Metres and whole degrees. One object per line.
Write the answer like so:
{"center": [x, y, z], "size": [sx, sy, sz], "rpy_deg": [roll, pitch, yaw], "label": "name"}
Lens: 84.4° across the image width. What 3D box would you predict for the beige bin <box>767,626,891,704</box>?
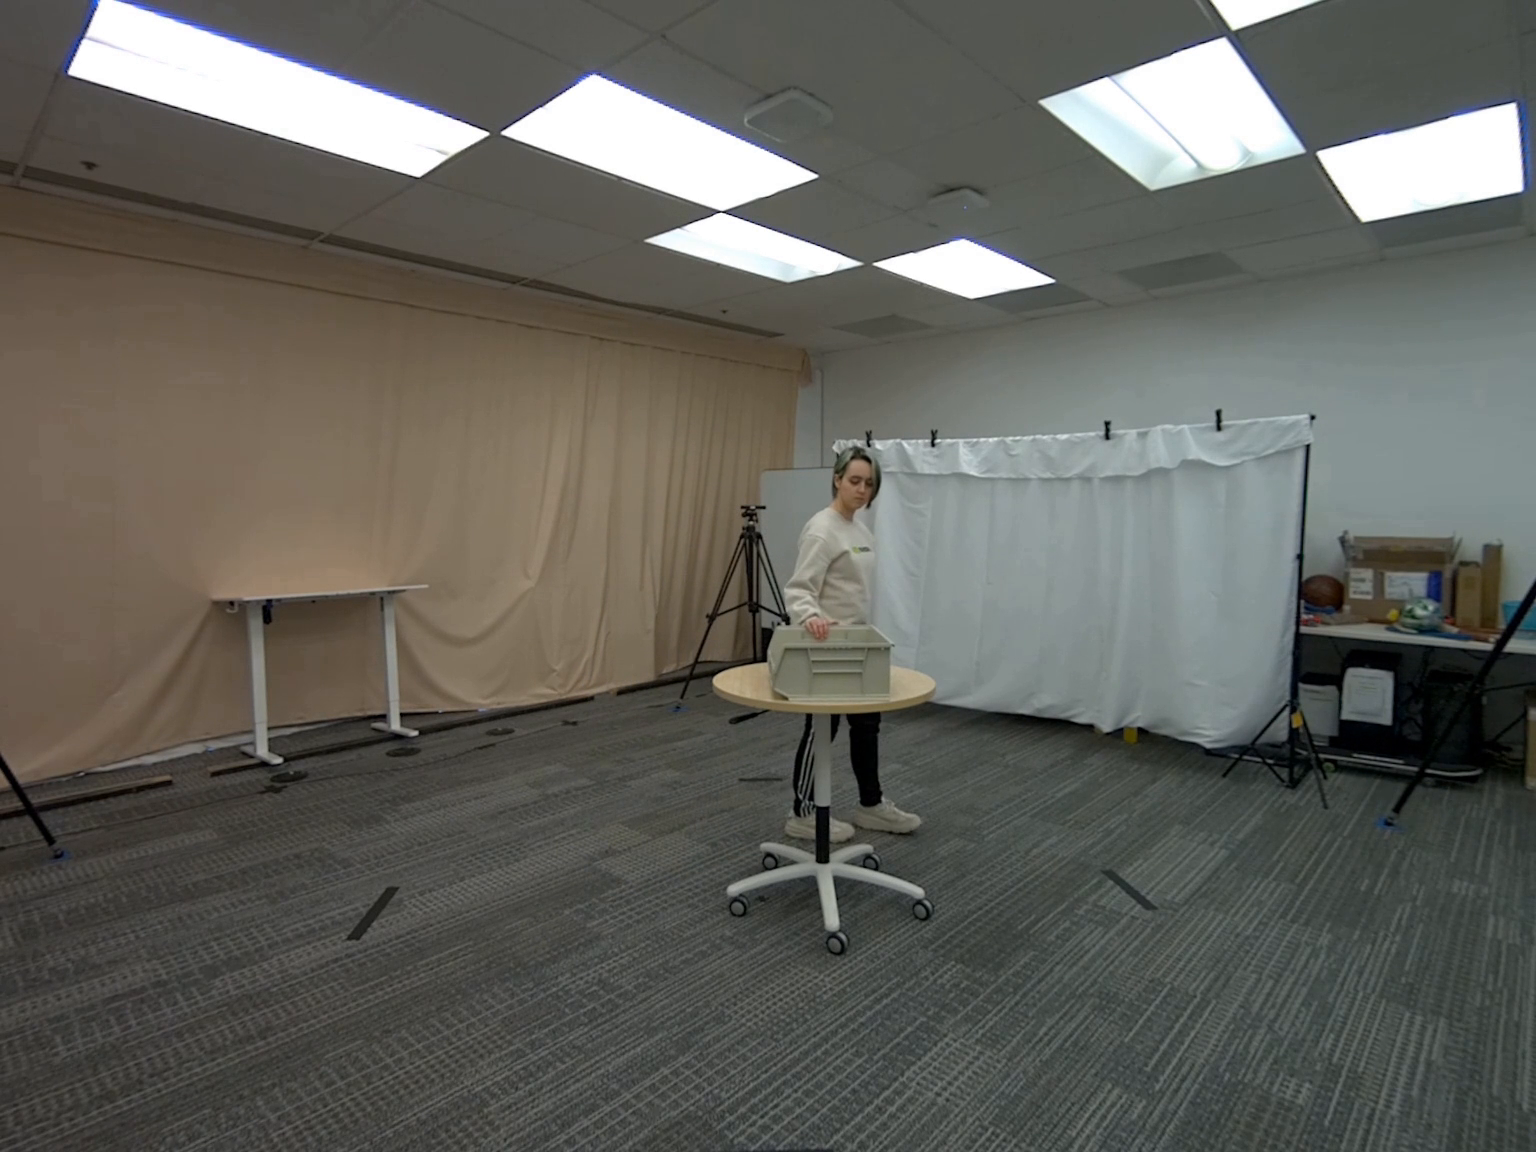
{"center": [0.195, 0.276, 2.802], "size": [0.378, 0.188, 0.423], "rpy_deg": [1, 3, 0], "label": "beige bin"}
